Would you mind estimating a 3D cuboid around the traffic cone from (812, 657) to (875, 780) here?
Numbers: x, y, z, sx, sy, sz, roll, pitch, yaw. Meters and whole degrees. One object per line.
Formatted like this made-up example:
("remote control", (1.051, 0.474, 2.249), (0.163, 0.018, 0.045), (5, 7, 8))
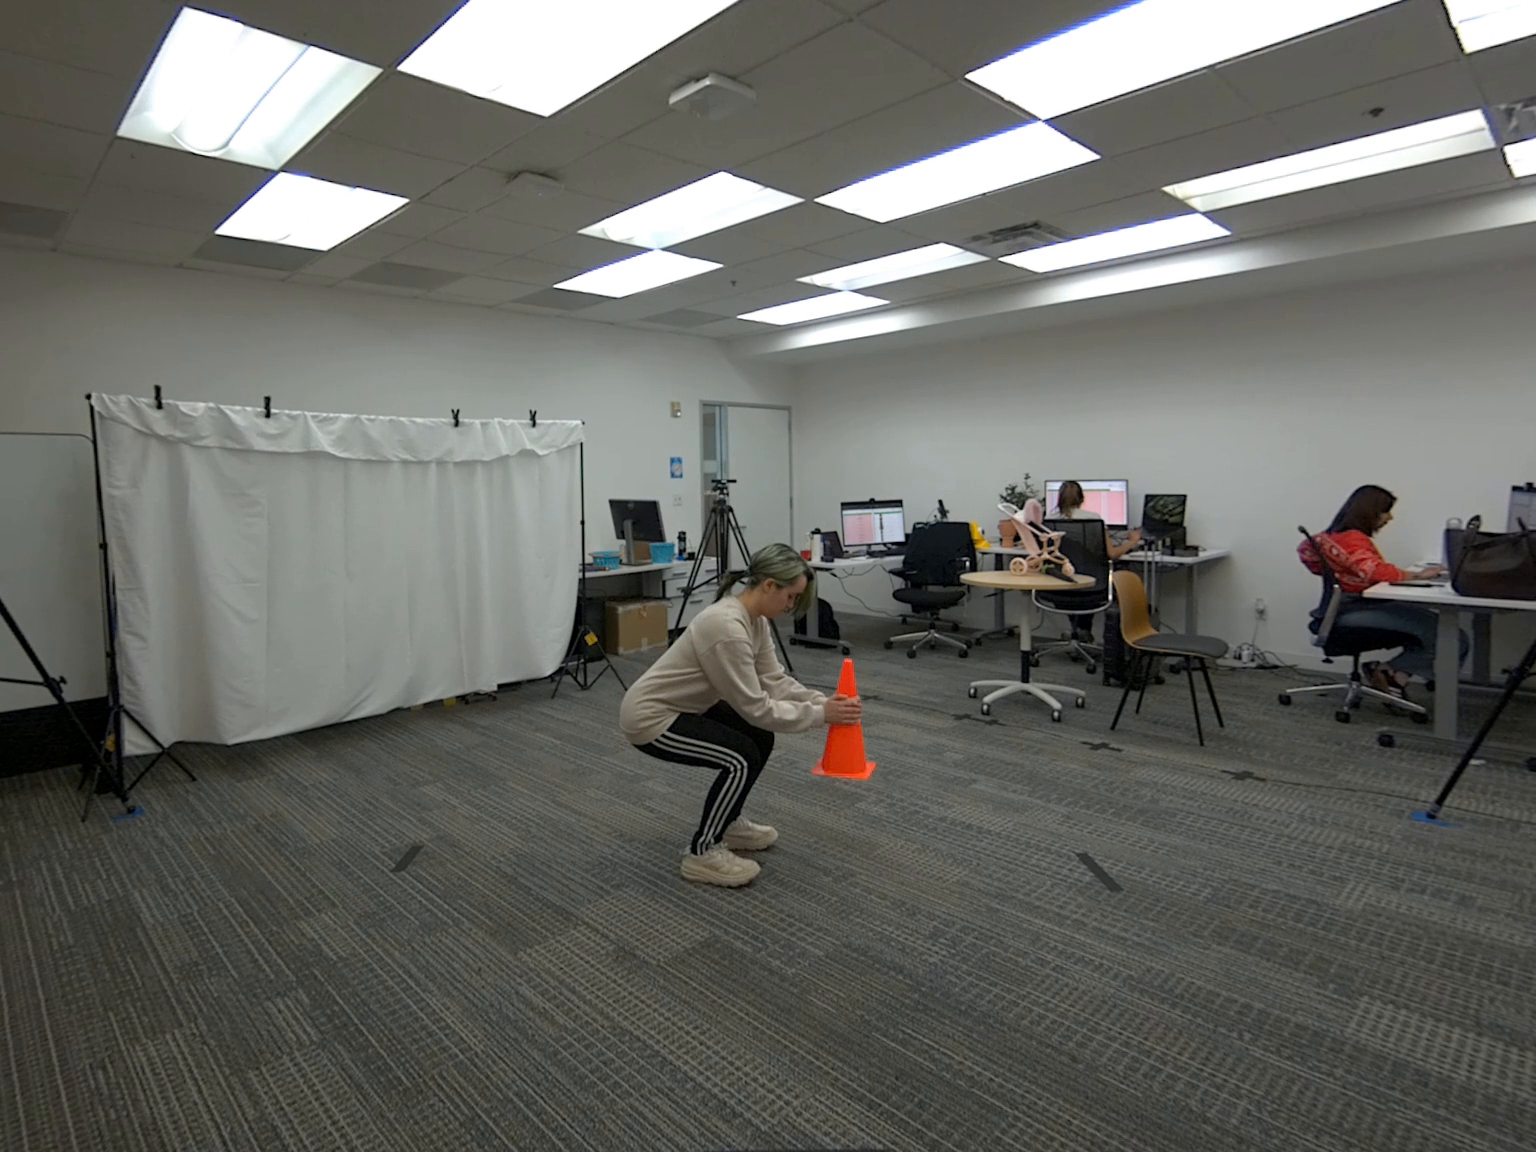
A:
("traffic cone", (0.266, 0.481, 2.975), (0.207, 0.383, 0.201), (2, 4, 21))
